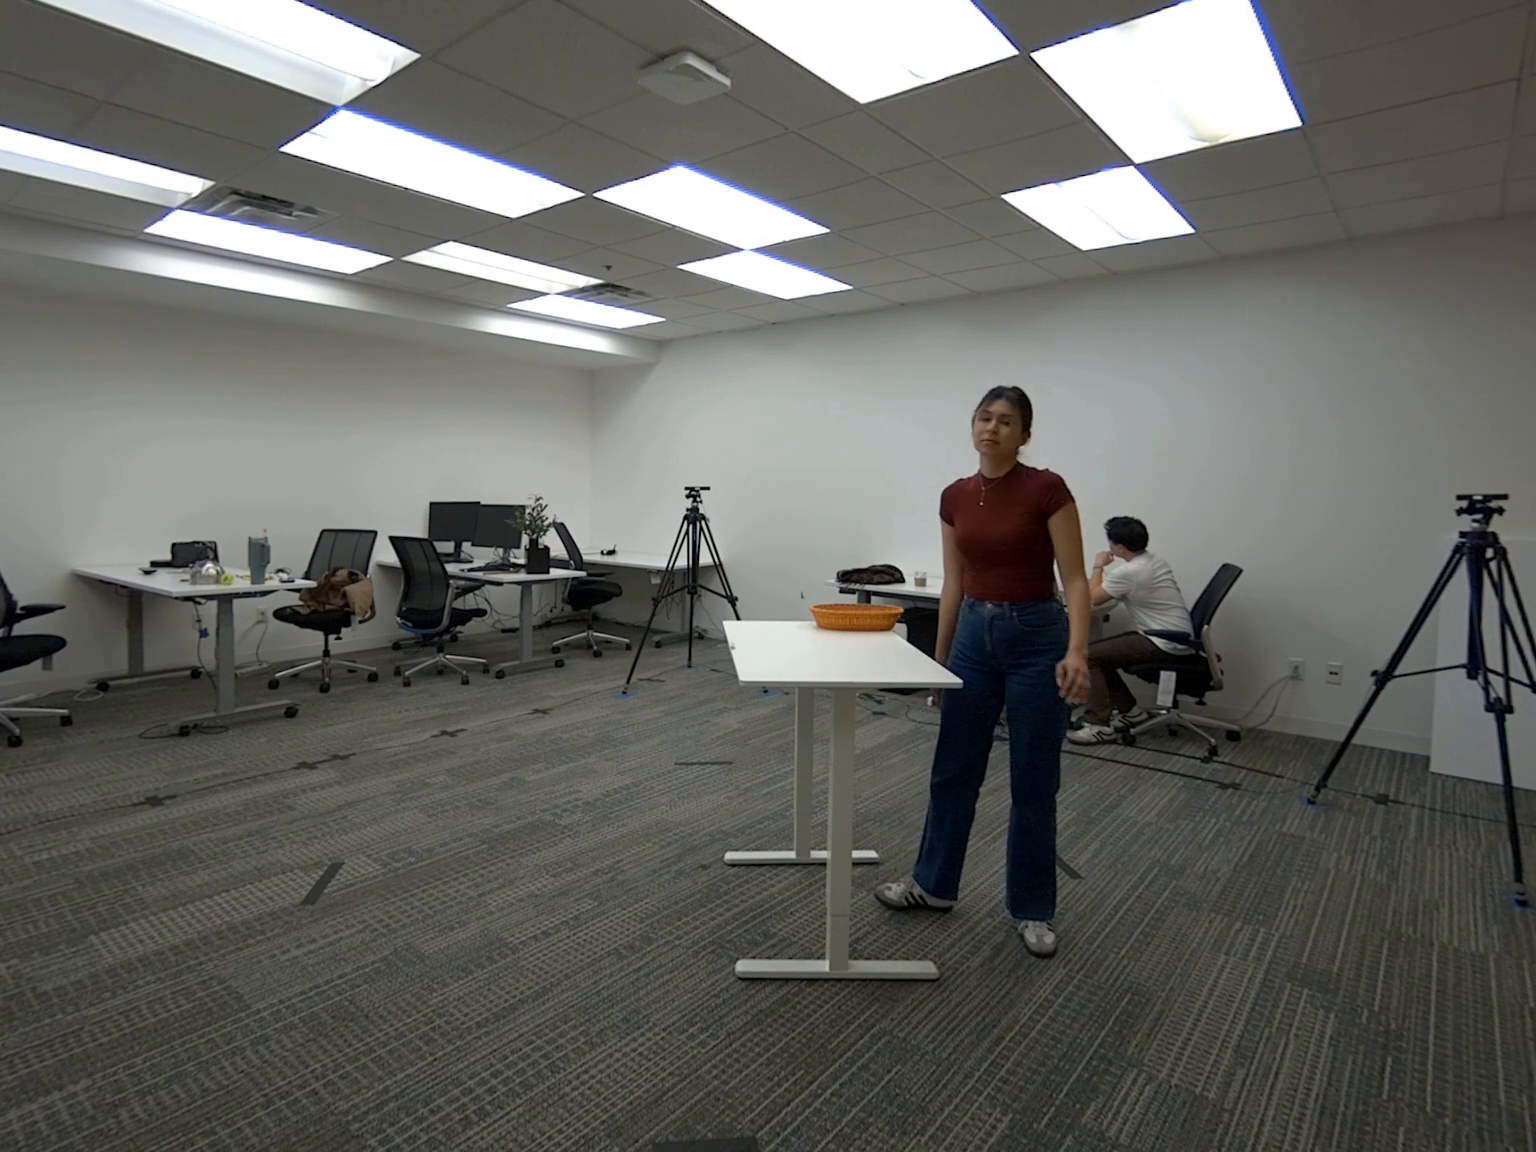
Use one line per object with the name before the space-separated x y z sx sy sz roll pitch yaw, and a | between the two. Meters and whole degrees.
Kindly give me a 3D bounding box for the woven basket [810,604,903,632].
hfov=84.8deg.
woven basket | 0.318 0.155 3.143 0.353 0.073 0.251 1 5 7
